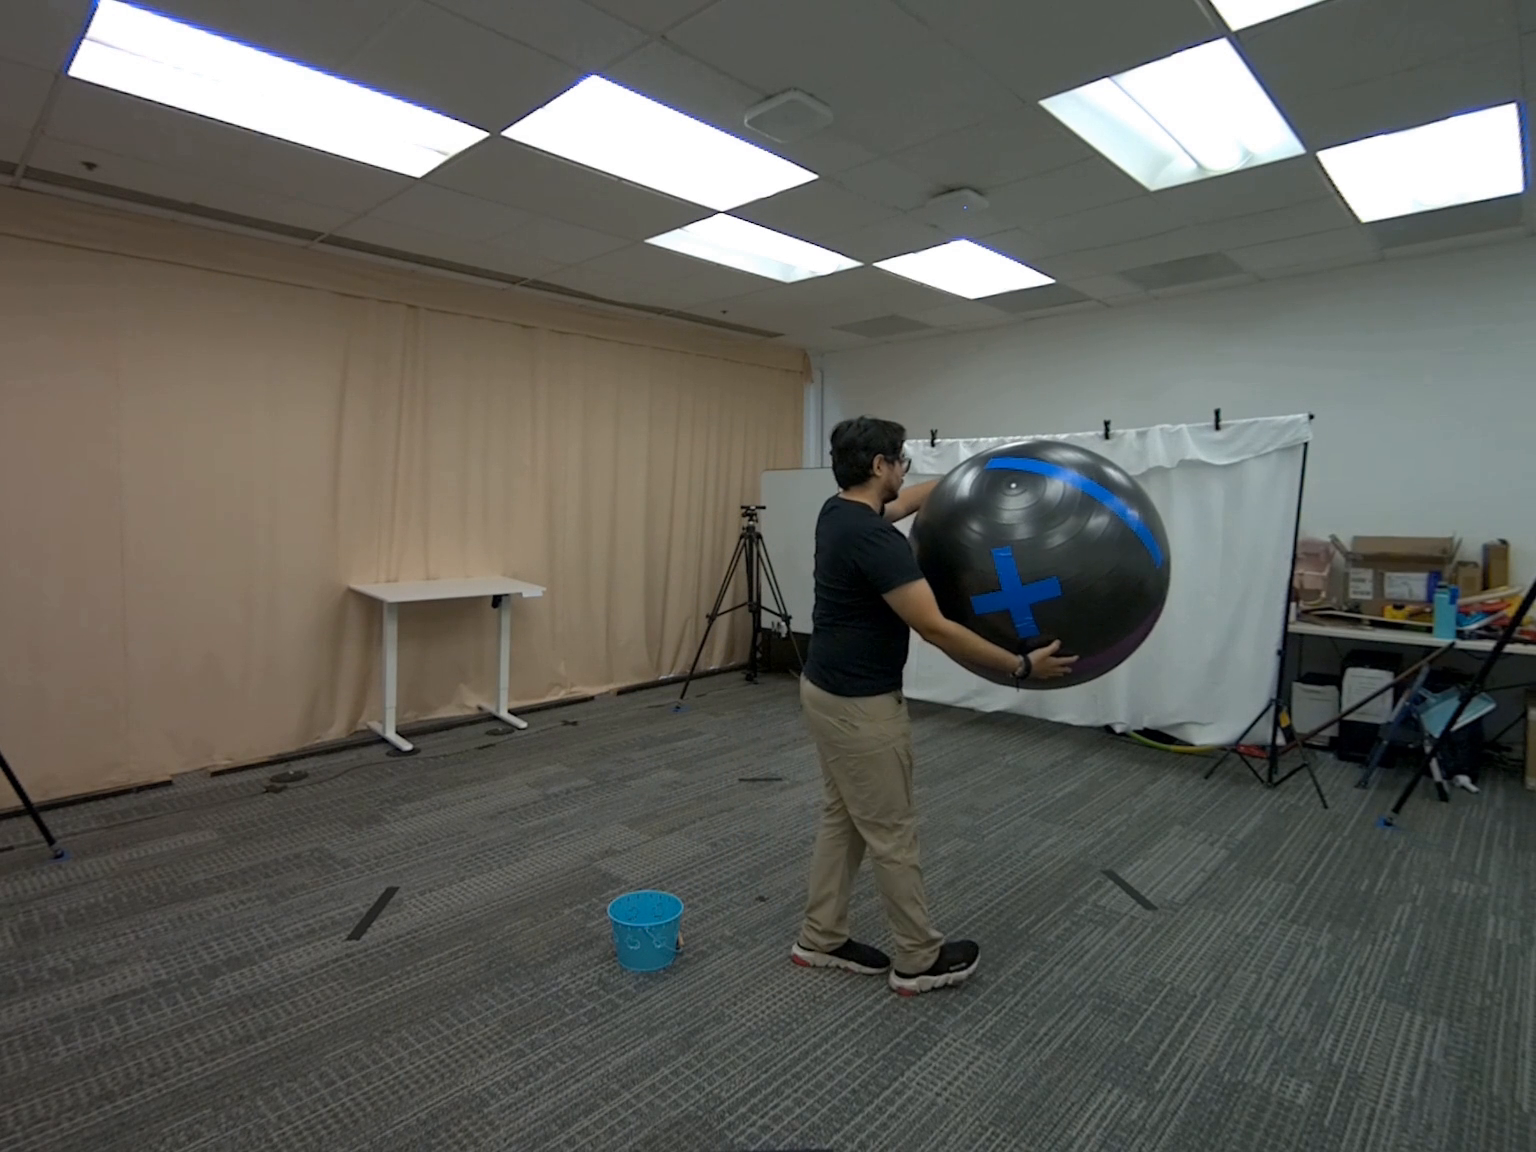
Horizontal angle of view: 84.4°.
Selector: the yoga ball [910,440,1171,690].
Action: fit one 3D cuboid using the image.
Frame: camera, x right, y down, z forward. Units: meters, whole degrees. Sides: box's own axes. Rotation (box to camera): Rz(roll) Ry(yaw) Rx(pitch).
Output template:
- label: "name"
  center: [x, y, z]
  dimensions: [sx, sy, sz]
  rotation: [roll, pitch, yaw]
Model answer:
- label: "yoga ball"
  center: [0.818, -0.027, 2.579]
  dimensions: [0.757, 0.756, 0.760]
  rotation: [0, 4, -2]
